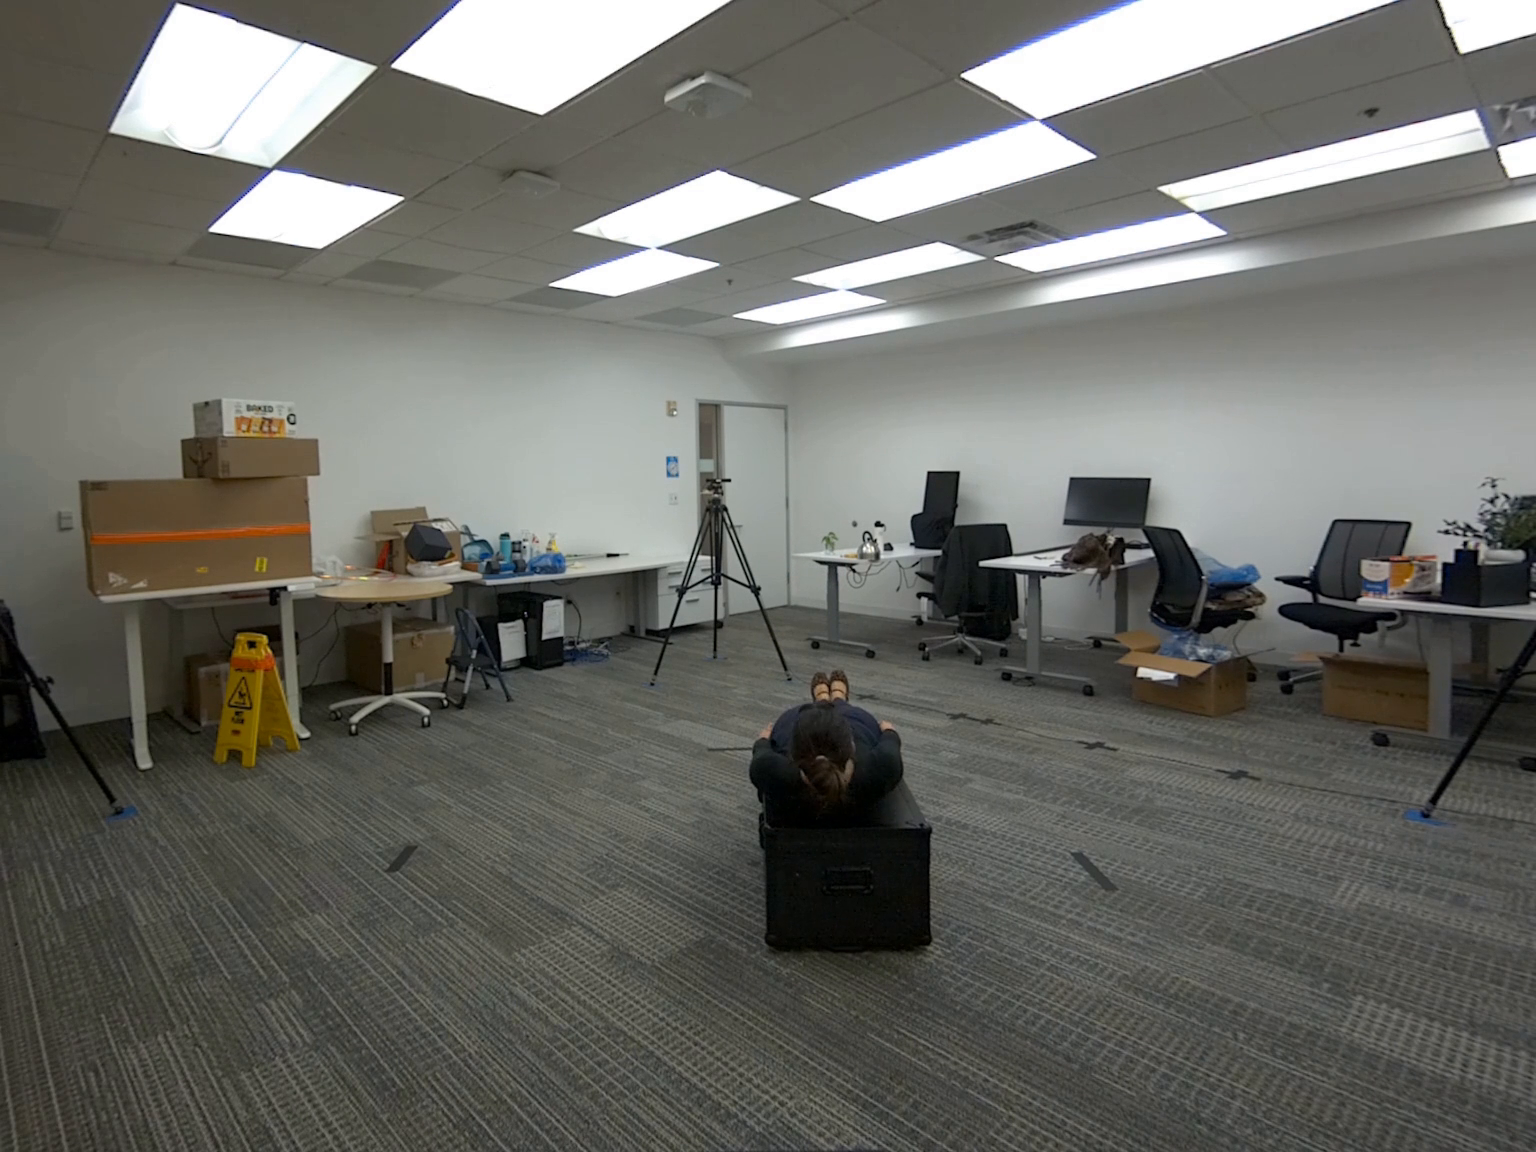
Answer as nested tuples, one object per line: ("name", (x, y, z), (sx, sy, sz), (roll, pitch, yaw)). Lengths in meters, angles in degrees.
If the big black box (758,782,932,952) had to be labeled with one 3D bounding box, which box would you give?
("big black box", (0.226, 0.863, 2.916), (0.521, 0.394, 0.866), (-2, 6, -1))
